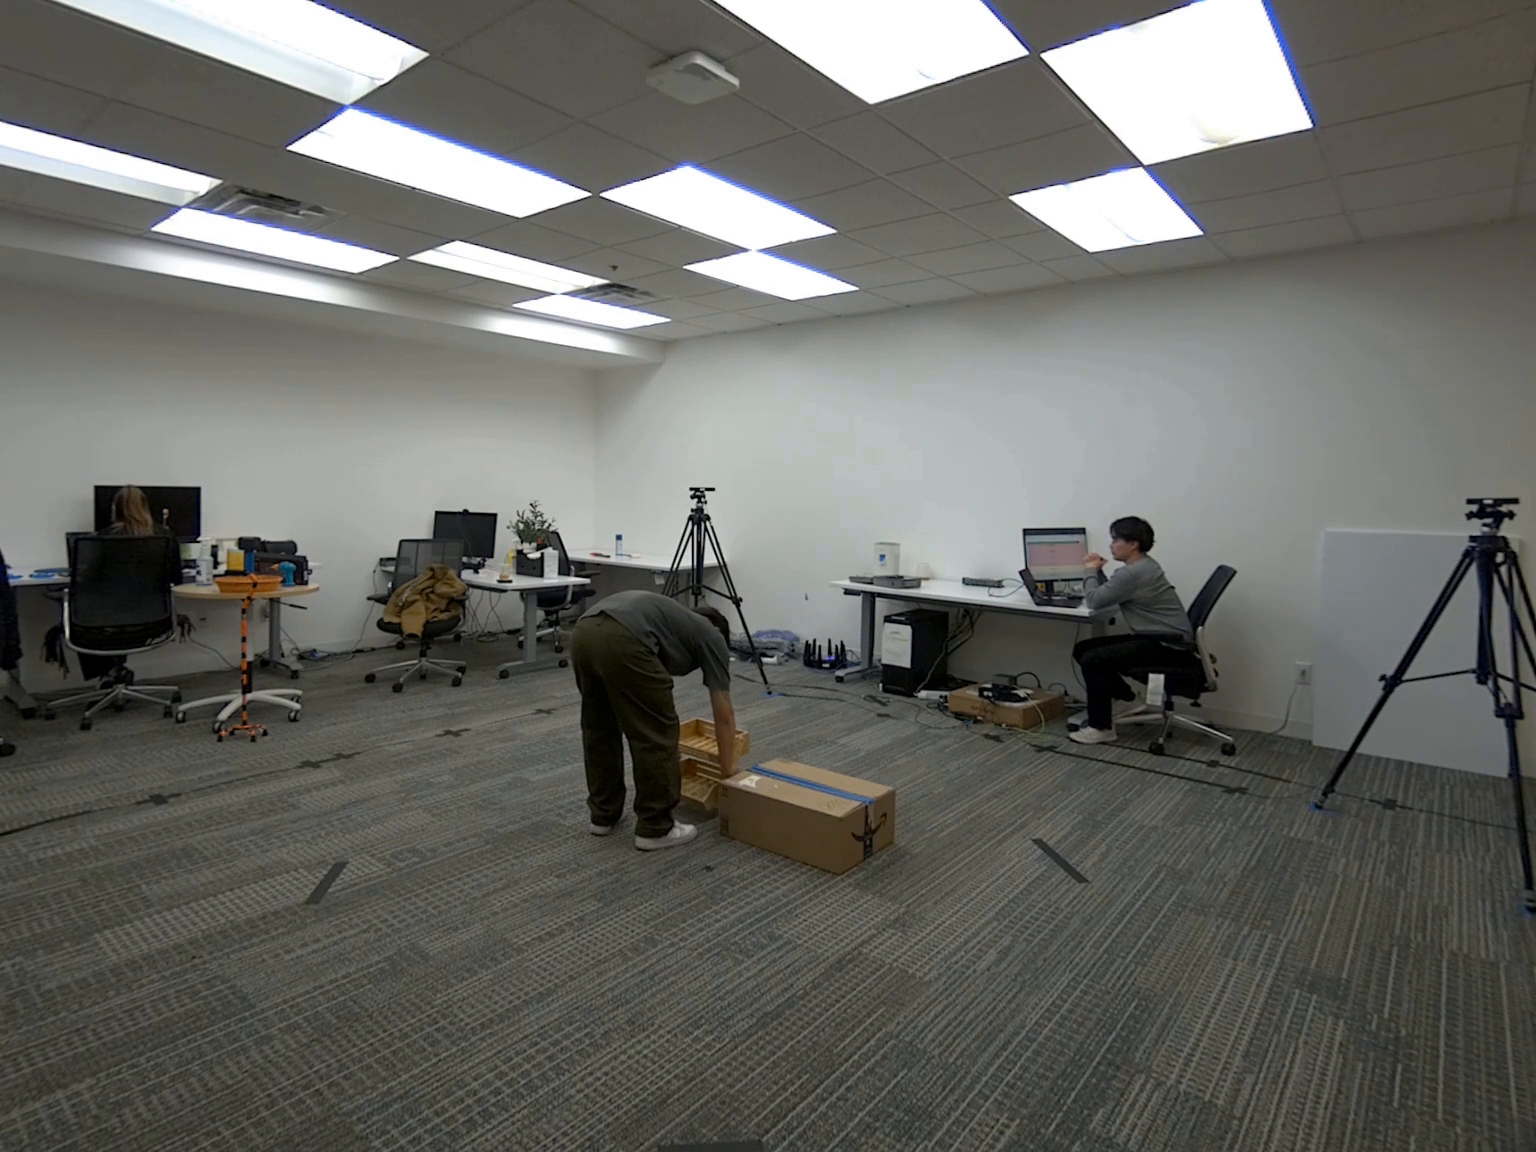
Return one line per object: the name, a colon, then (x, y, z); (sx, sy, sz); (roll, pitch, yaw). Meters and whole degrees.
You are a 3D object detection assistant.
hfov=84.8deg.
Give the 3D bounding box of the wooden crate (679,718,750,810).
wooden crate: (-0.308, 0.801, 3.688); (0.335, 0.271, 0.294); (5, 9, 39)
